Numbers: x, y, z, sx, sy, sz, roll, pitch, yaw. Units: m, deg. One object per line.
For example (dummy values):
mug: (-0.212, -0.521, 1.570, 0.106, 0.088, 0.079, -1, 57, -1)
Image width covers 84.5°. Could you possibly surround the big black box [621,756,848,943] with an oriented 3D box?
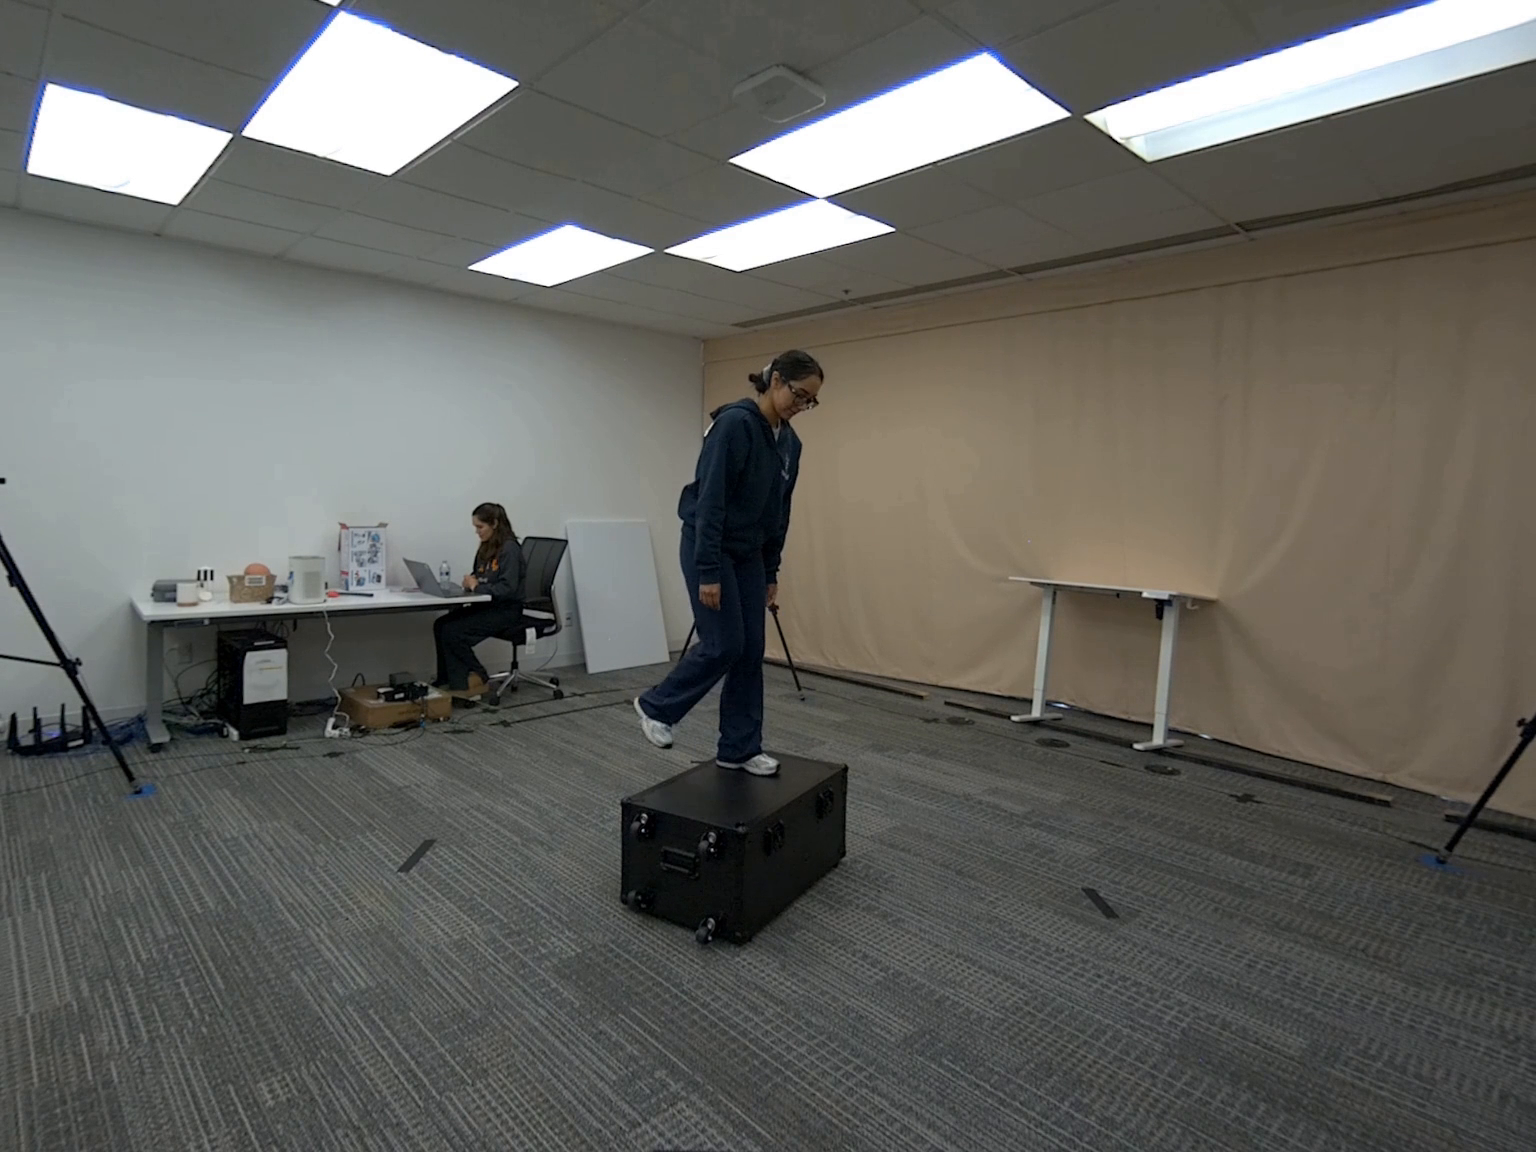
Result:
big black box: (-0.120, 0.928, 3.004, 0.532, 0.395, 0.845, 4, 5, 29)
